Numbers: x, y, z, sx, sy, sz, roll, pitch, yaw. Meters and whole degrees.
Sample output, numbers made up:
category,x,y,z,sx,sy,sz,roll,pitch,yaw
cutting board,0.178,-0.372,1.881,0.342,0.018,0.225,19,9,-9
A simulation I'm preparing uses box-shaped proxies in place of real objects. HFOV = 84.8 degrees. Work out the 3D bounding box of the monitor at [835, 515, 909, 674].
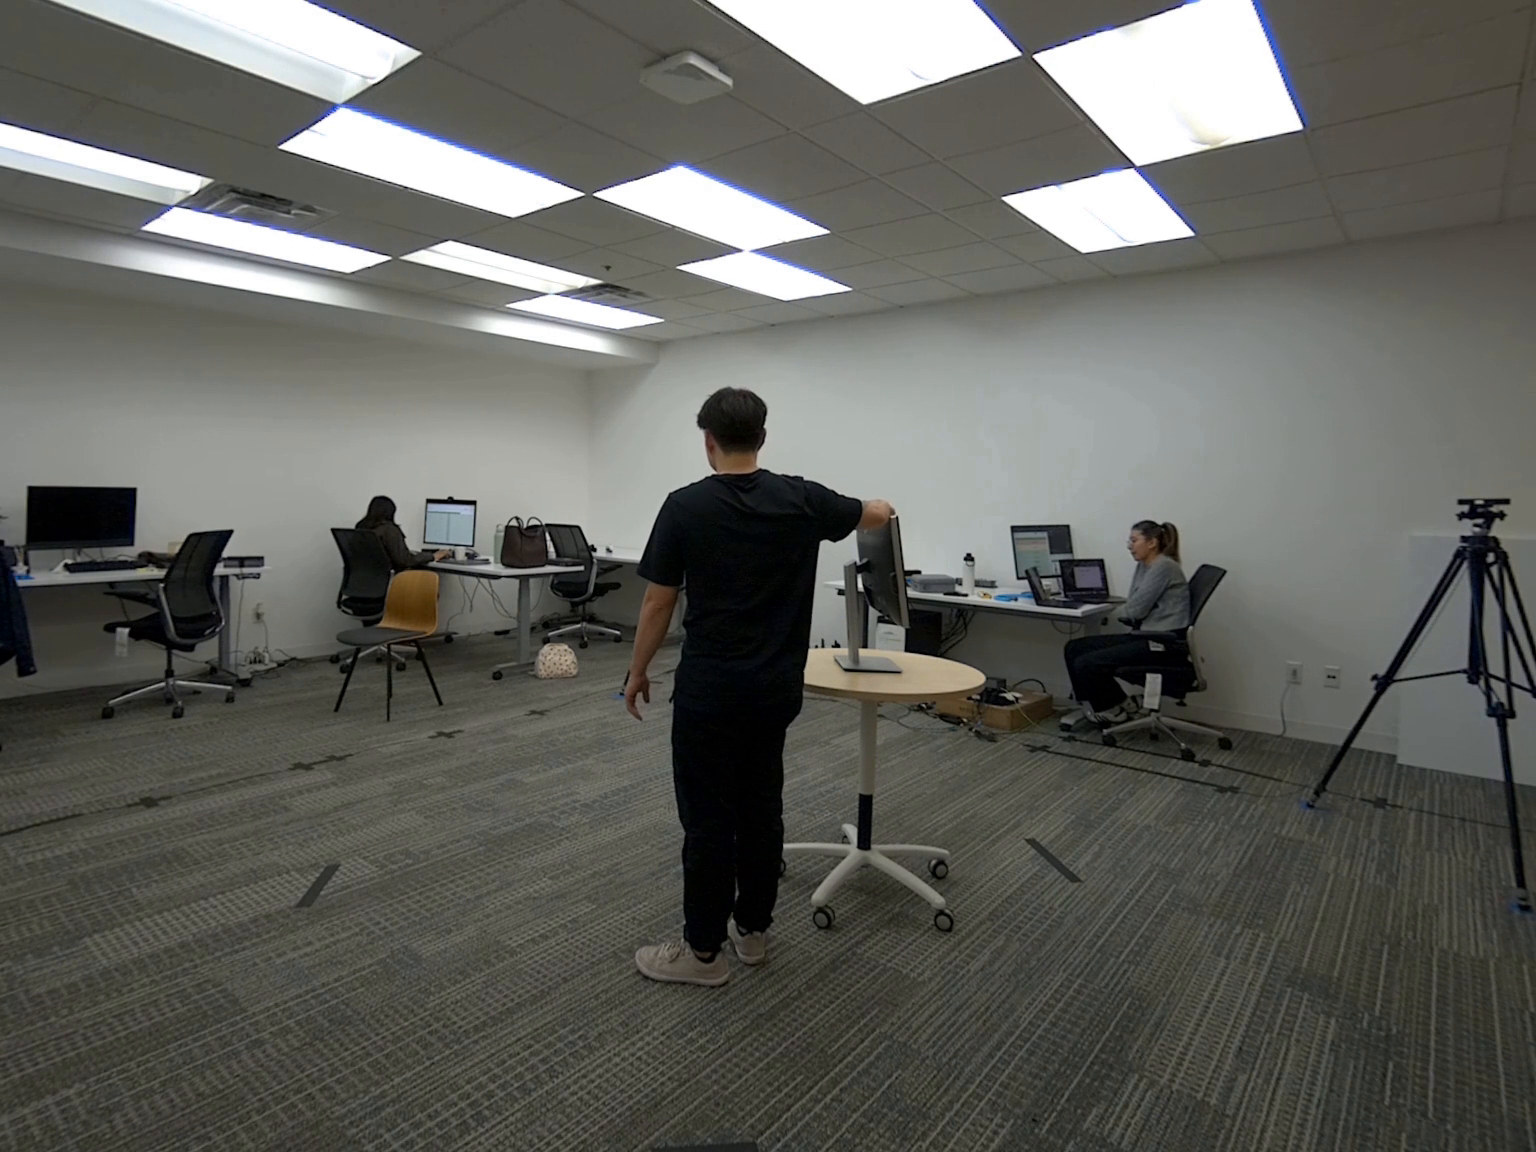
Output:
category,x,y,z,sx,sy,sz,roll,pitch,yaw
monitor,0.347,0.052,3.000,0.186,0.521,0.544,3,4,-7
